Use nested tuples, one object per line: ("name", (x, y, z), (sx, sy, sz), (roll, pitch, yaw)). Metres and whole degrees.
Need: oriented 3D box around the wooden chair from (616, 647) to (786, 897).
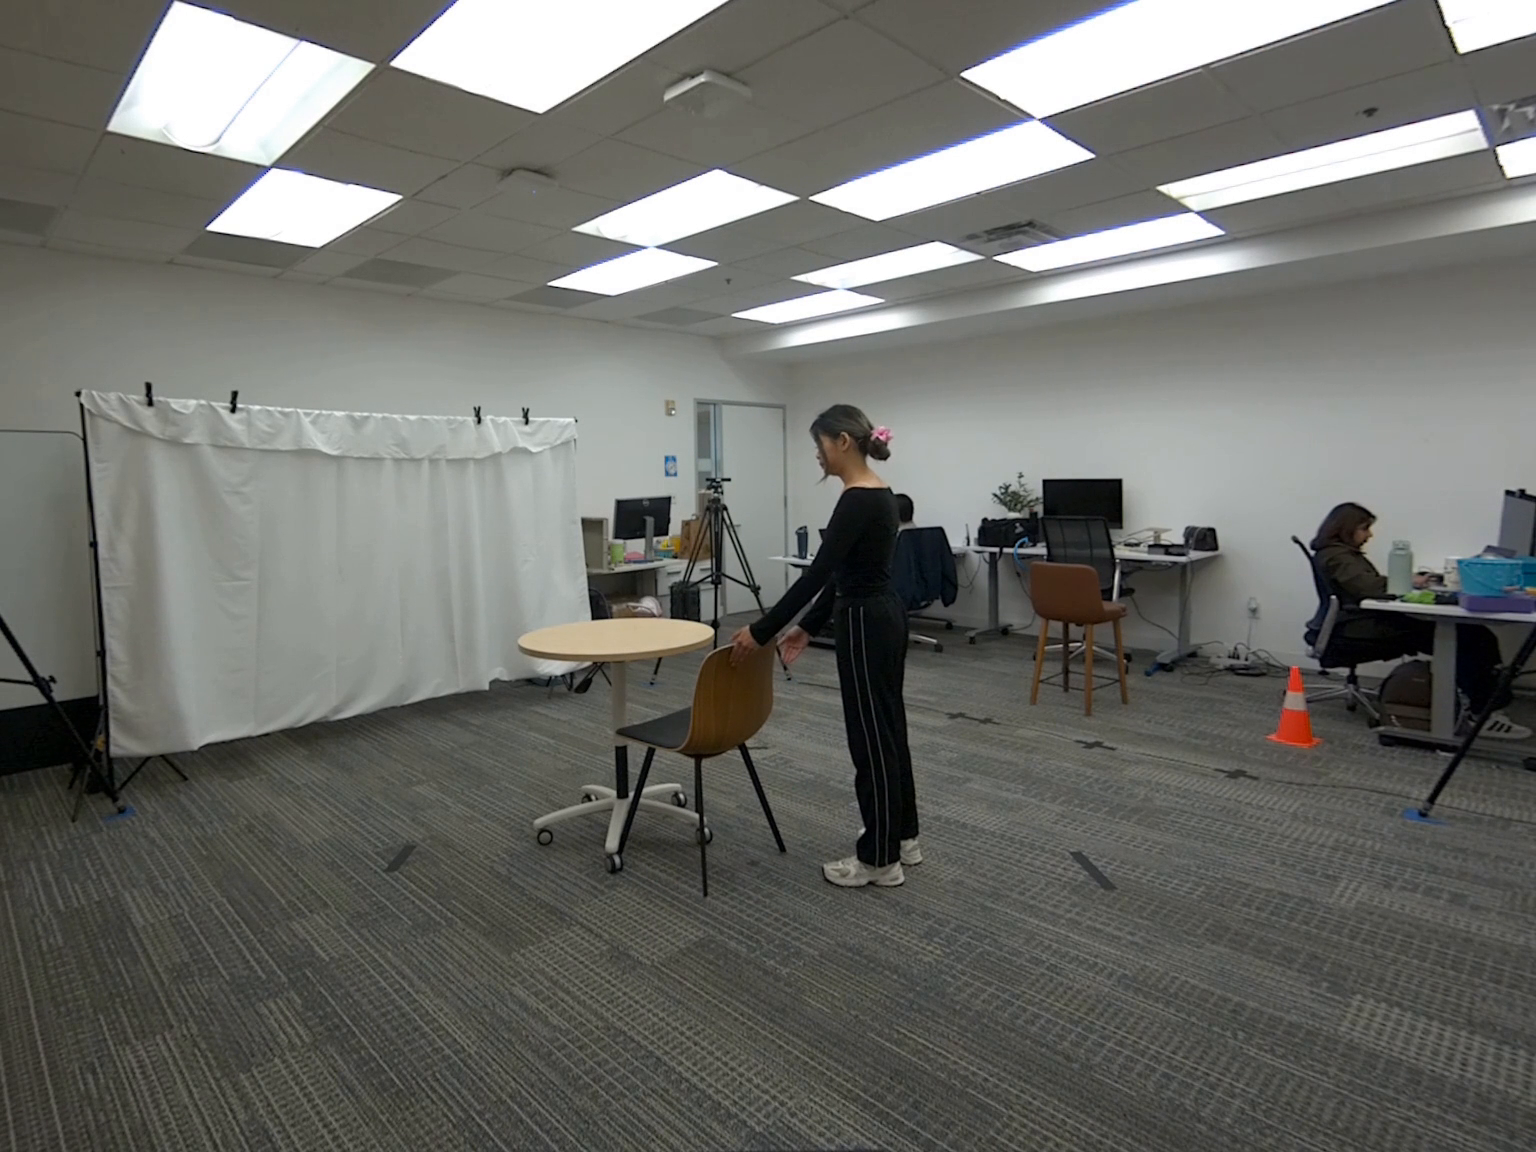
("wooden chair", (-0.258, 0.611, 3.137), (0.540, 0.871, 0.466), (9, 10, 39))
